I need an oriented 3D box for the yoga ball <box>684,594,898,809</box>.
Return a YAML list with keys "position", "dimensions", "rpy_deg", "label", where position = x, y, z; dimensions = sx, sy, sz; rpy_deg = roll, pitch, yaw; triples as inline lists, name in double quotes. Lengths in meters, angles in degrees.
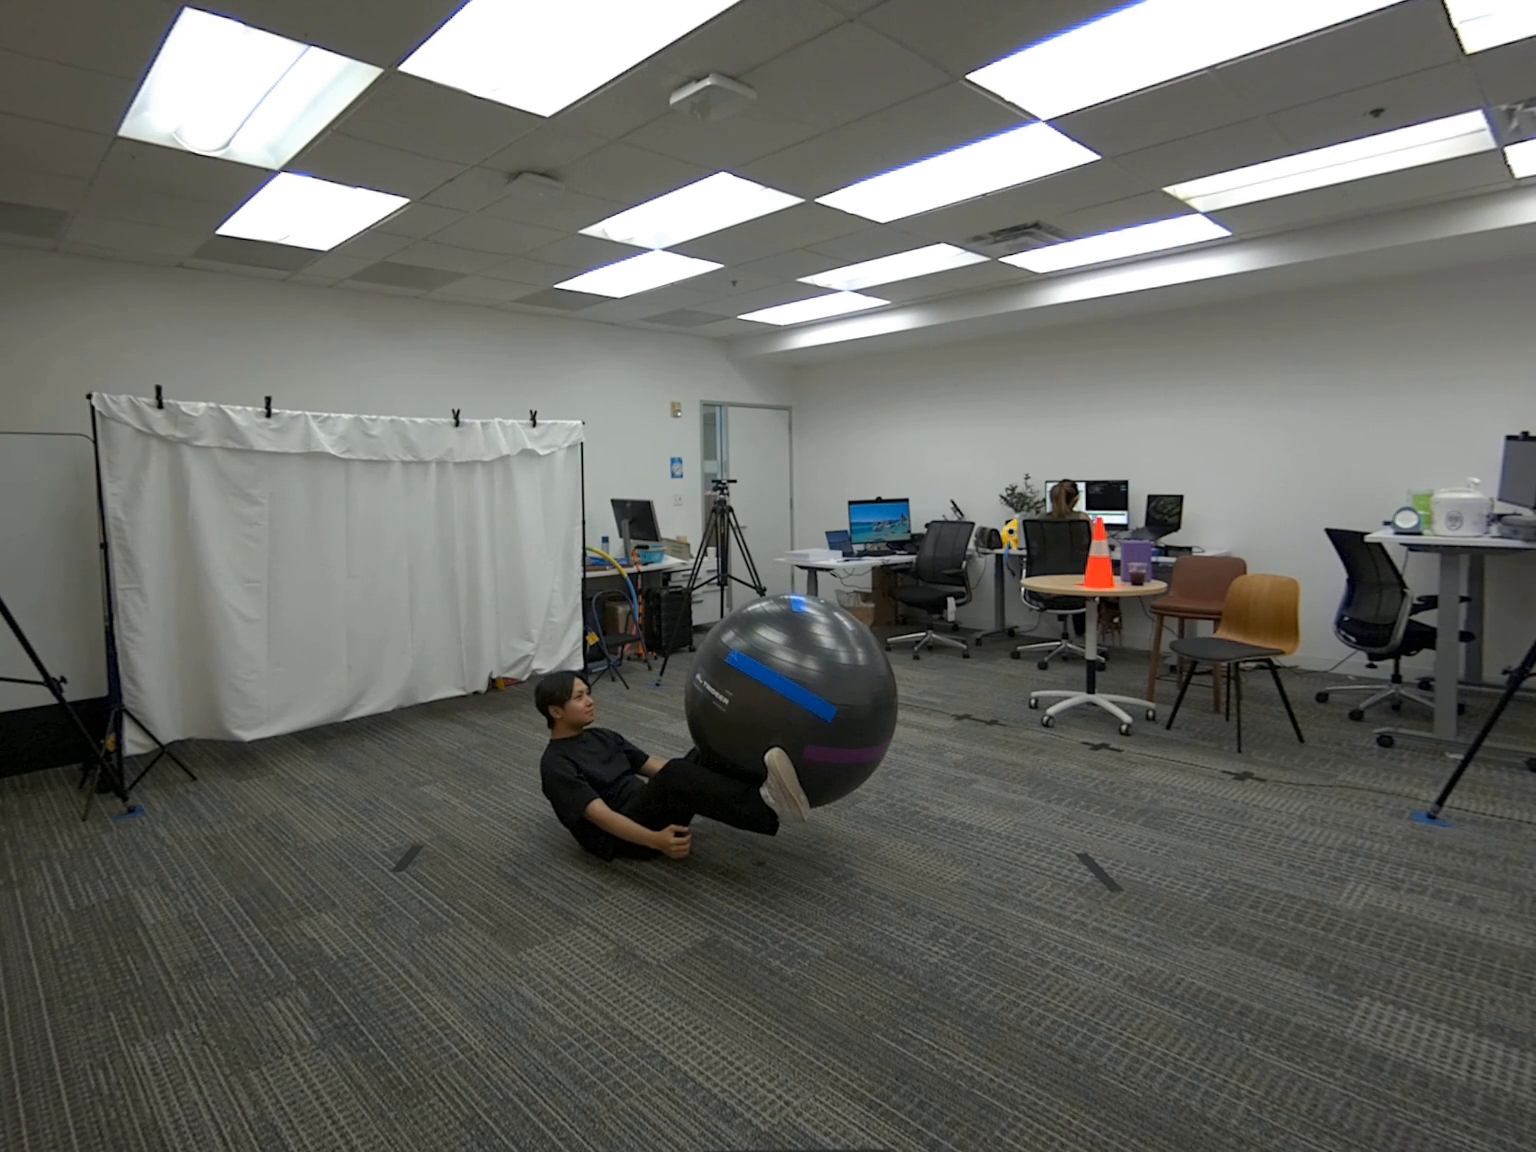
- position: [0.077, 0.447, 3.083]
  dimensions: [0.757, 0.755, 0.762]
  rpy_deg: [-1, 5, -2]
  label: "yoga ball"
